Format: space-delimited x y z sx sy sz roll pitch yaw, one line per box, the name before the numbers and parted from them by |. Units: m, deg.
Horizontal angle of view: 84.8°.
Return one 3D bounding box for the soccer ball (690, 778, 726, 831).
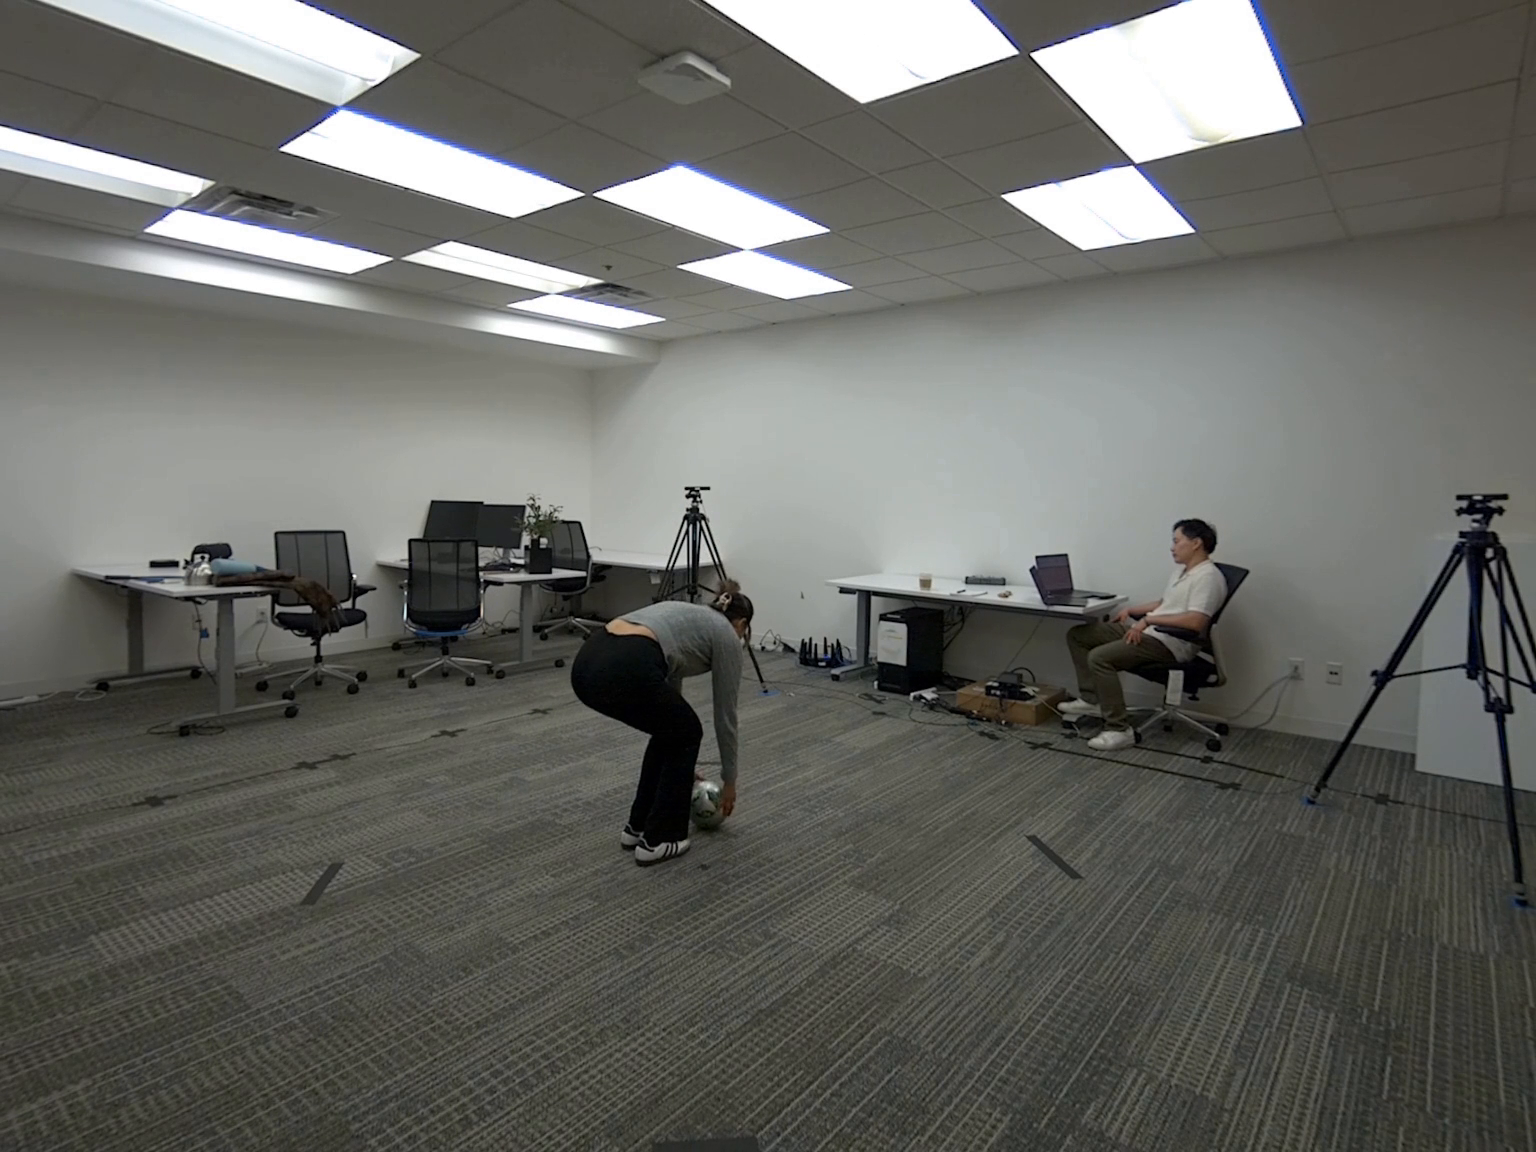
soccer ball | -0.256 0.929 3.491 0.187 0.187 0.188 1 4 -2
